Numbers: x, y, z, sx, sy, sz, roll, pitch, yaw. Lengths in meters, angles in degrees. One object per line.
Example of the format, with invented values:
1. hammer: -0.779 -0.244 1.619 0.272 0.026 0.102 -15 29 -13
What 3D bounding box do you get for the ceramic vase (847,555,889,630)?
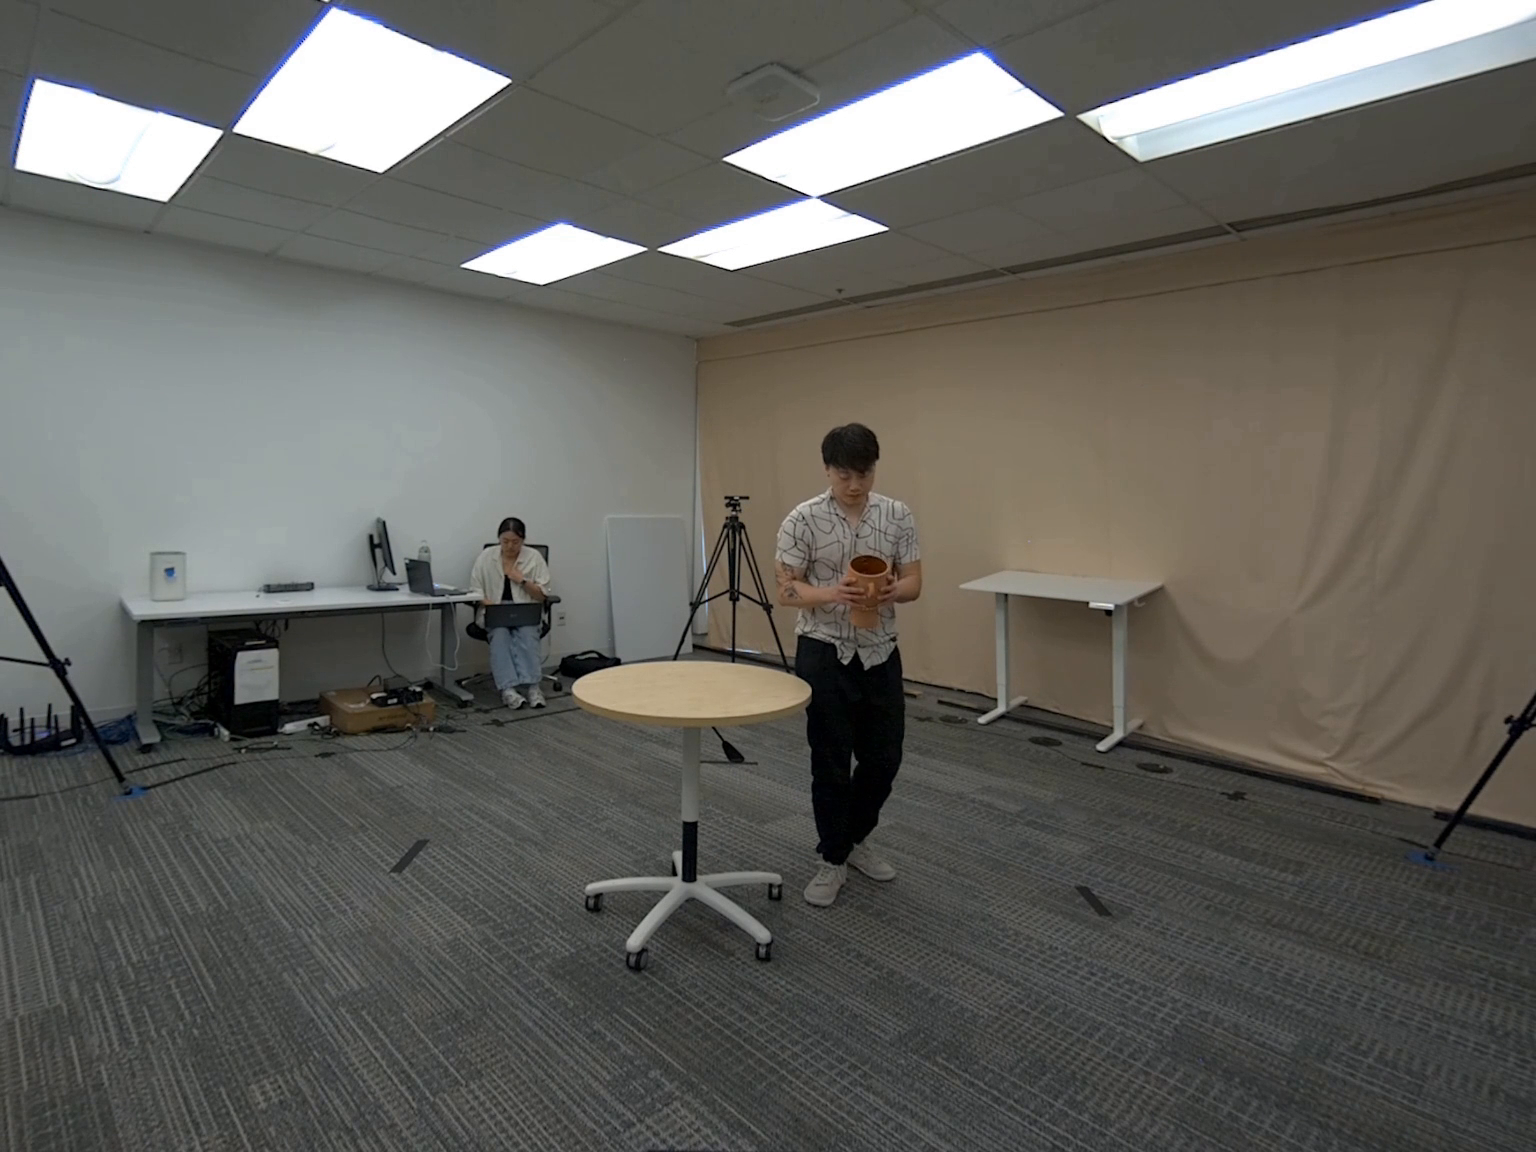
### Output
1. ceramic vase: 0.302 0.056 2.743 0.138 0.215 0.158 21 39 29
